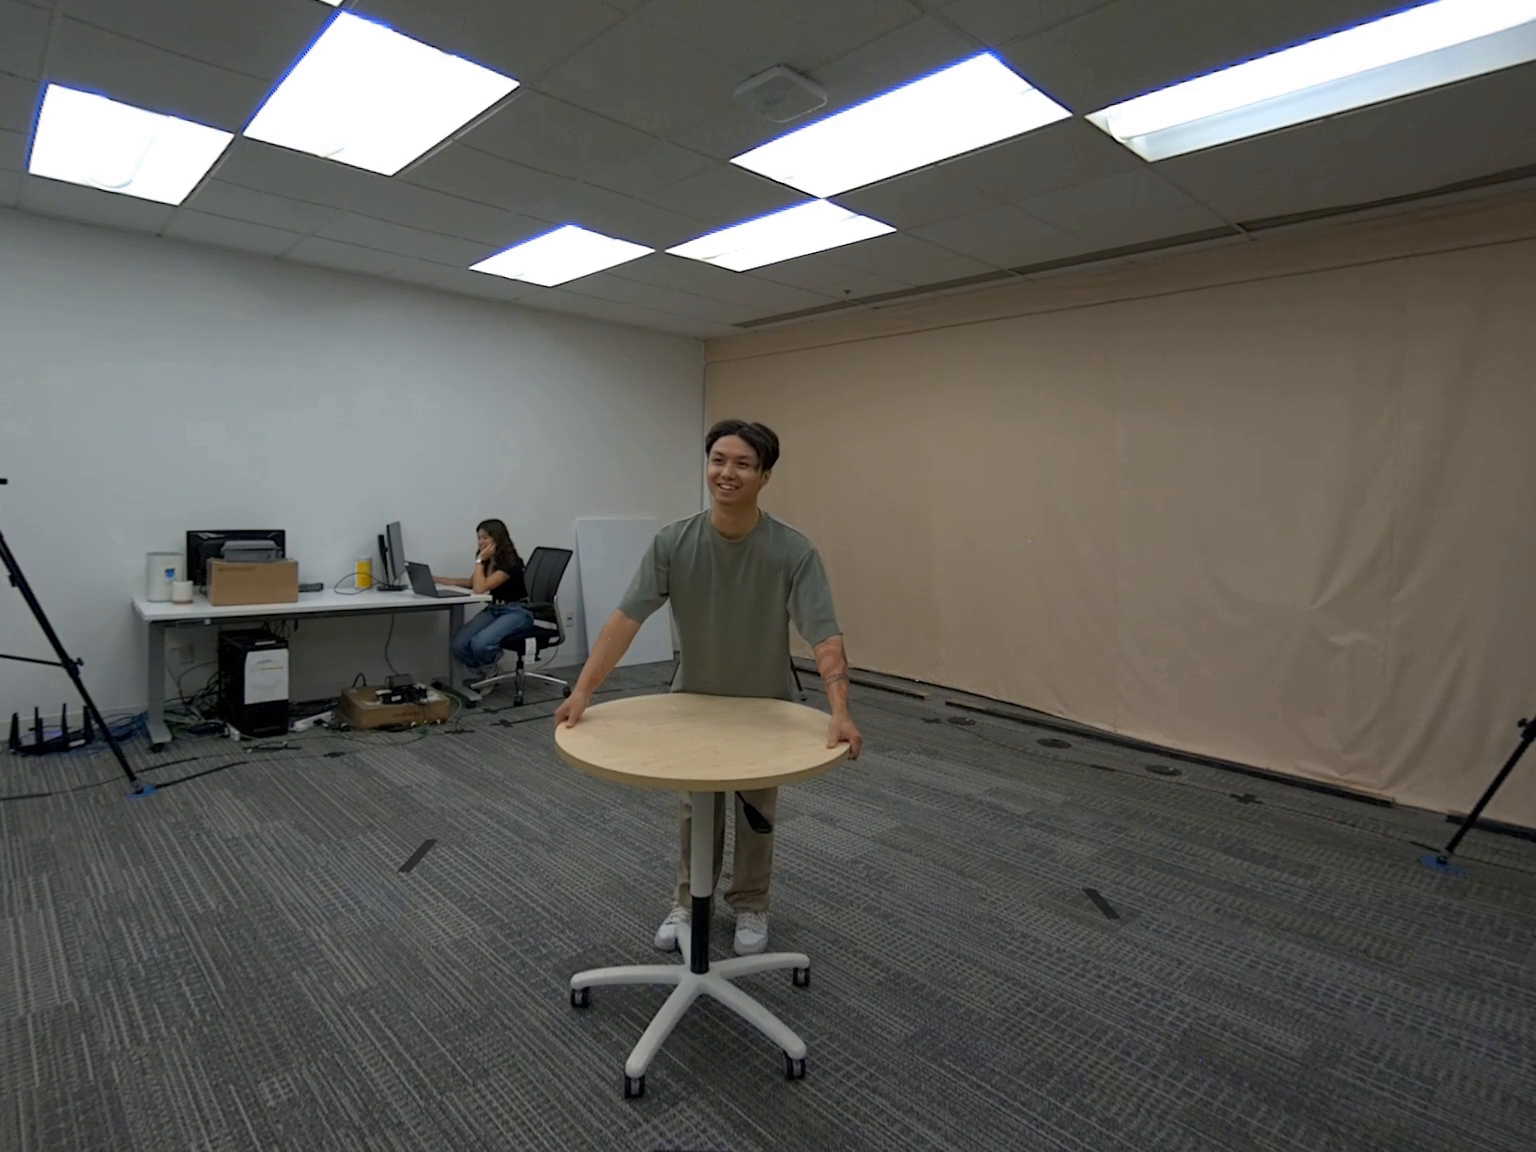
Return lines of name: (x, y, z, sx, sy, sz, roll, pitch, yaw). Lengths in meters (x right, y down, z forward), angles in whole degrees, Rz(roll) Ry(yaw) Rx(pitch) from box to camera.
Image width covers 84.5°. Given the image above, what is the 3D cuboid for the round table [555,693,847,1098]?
round table: (-0.194, 0.793, 2.225, 0.784, 0.784, 0.788, 2, 5, -2)
